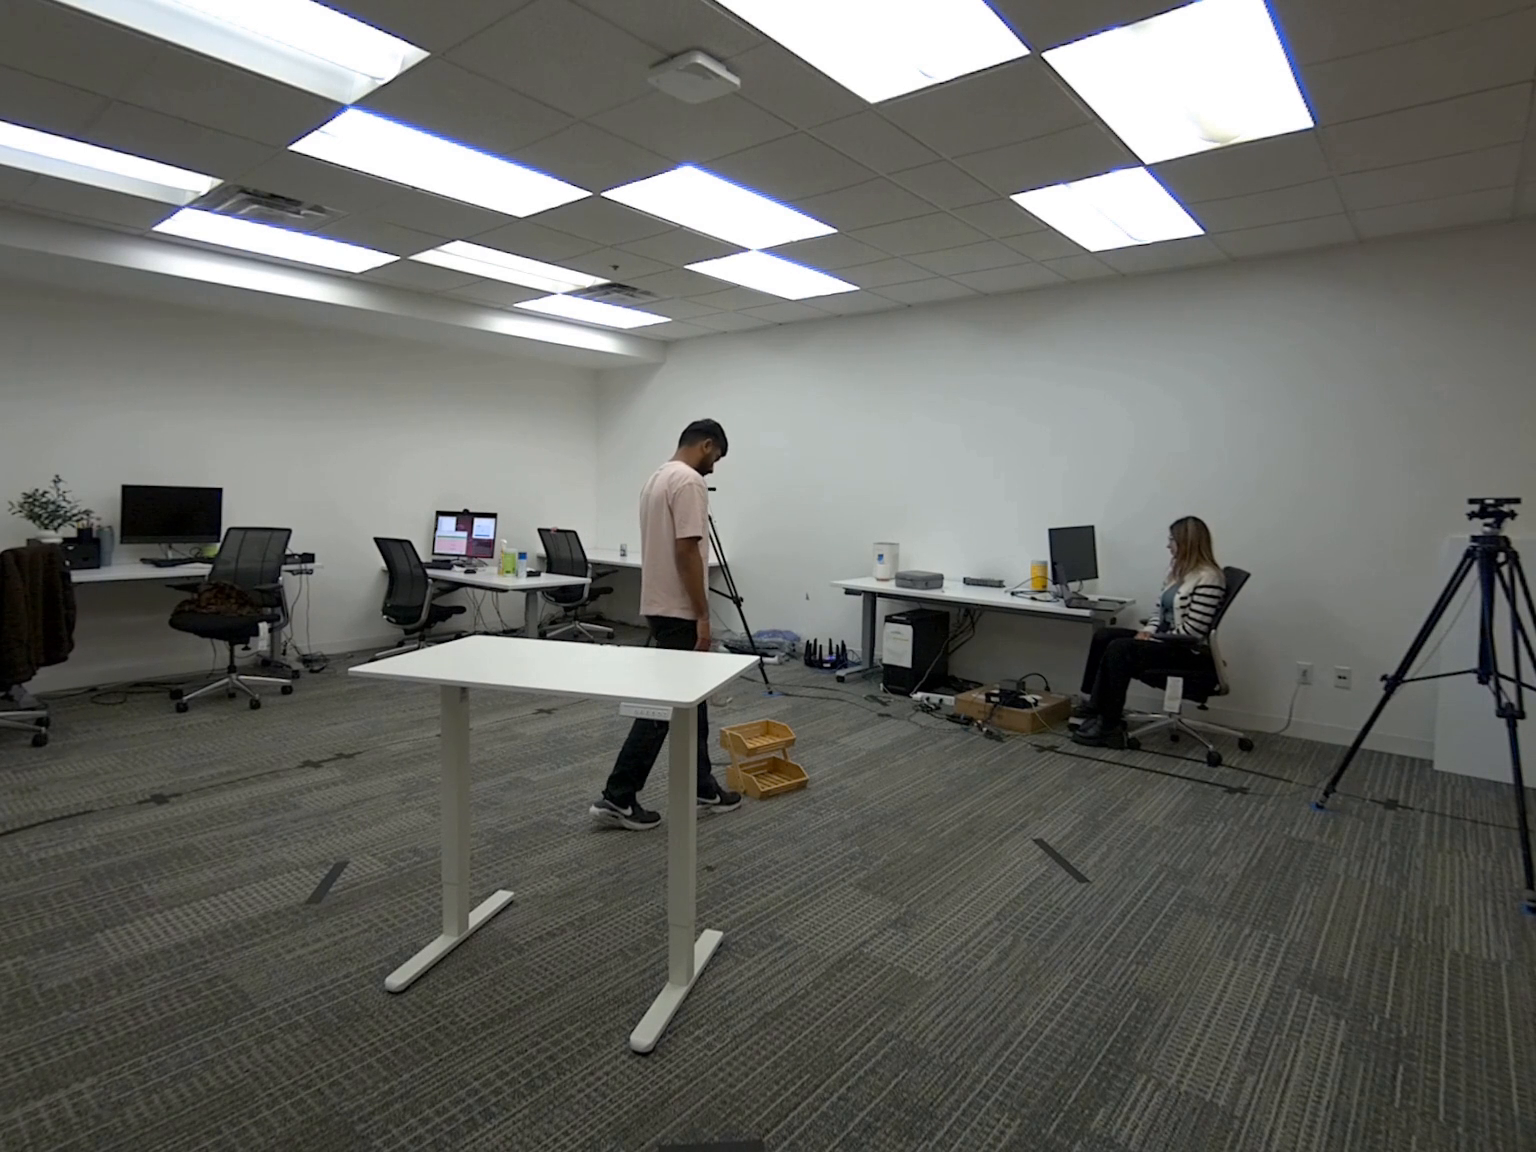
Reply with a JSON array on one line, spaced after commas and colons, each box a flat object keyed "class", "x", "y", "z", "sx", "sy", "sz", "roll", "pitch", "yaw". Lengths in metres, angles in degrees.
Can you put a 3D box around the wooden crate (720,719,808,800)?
[{"class": "wooden crate", "x": -0.024, "y": 0.847, "z": 4.005, "sx": 0.315, "sy": 0.272, "sz": 0.312, "roll": -3, "pitch": 6, "yaw": -41}]
